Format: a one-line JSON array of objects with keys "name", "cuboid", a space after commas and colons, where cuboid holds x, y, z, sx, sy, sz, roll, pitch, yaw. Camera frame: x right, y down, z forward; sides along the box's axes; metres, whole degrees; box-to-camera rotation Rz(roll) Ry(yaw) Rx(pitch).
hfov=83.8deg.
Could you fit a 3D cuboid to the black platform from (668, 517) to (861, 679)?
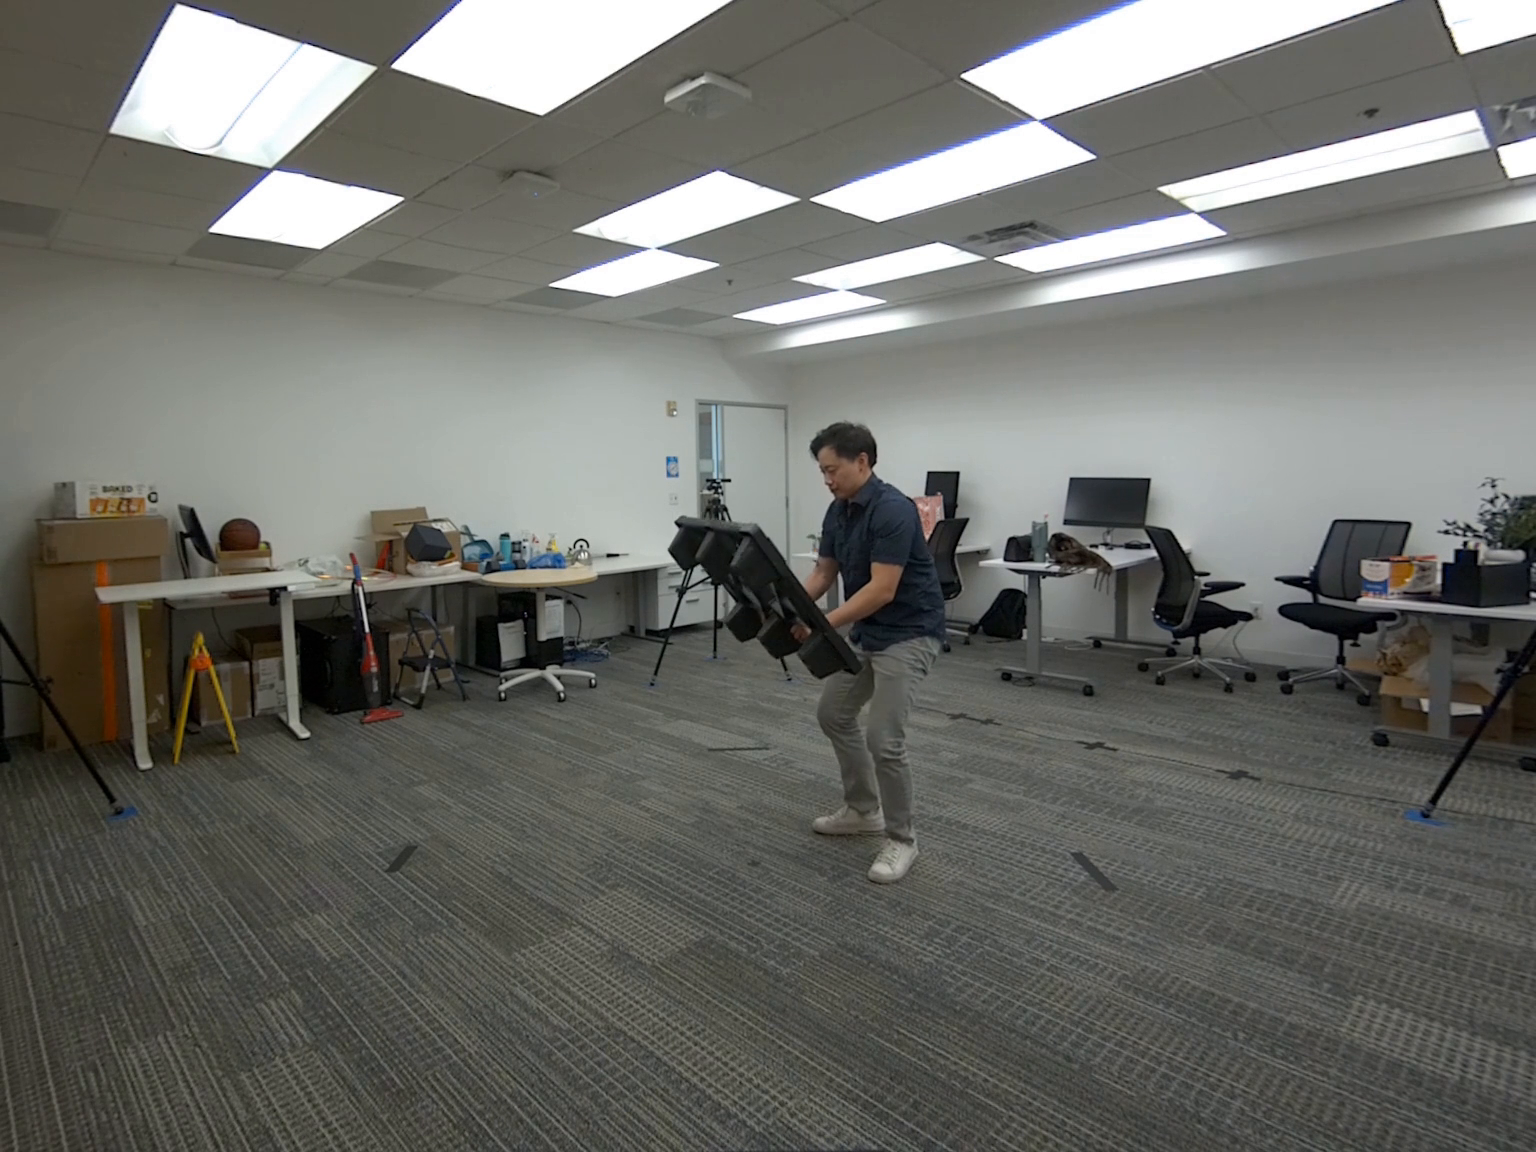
[{"name": "black platform", "cuboid": [-0.060, 0.070, 3.002, 0.143, 0.593, 0.824, -41, 17, -14]}]
